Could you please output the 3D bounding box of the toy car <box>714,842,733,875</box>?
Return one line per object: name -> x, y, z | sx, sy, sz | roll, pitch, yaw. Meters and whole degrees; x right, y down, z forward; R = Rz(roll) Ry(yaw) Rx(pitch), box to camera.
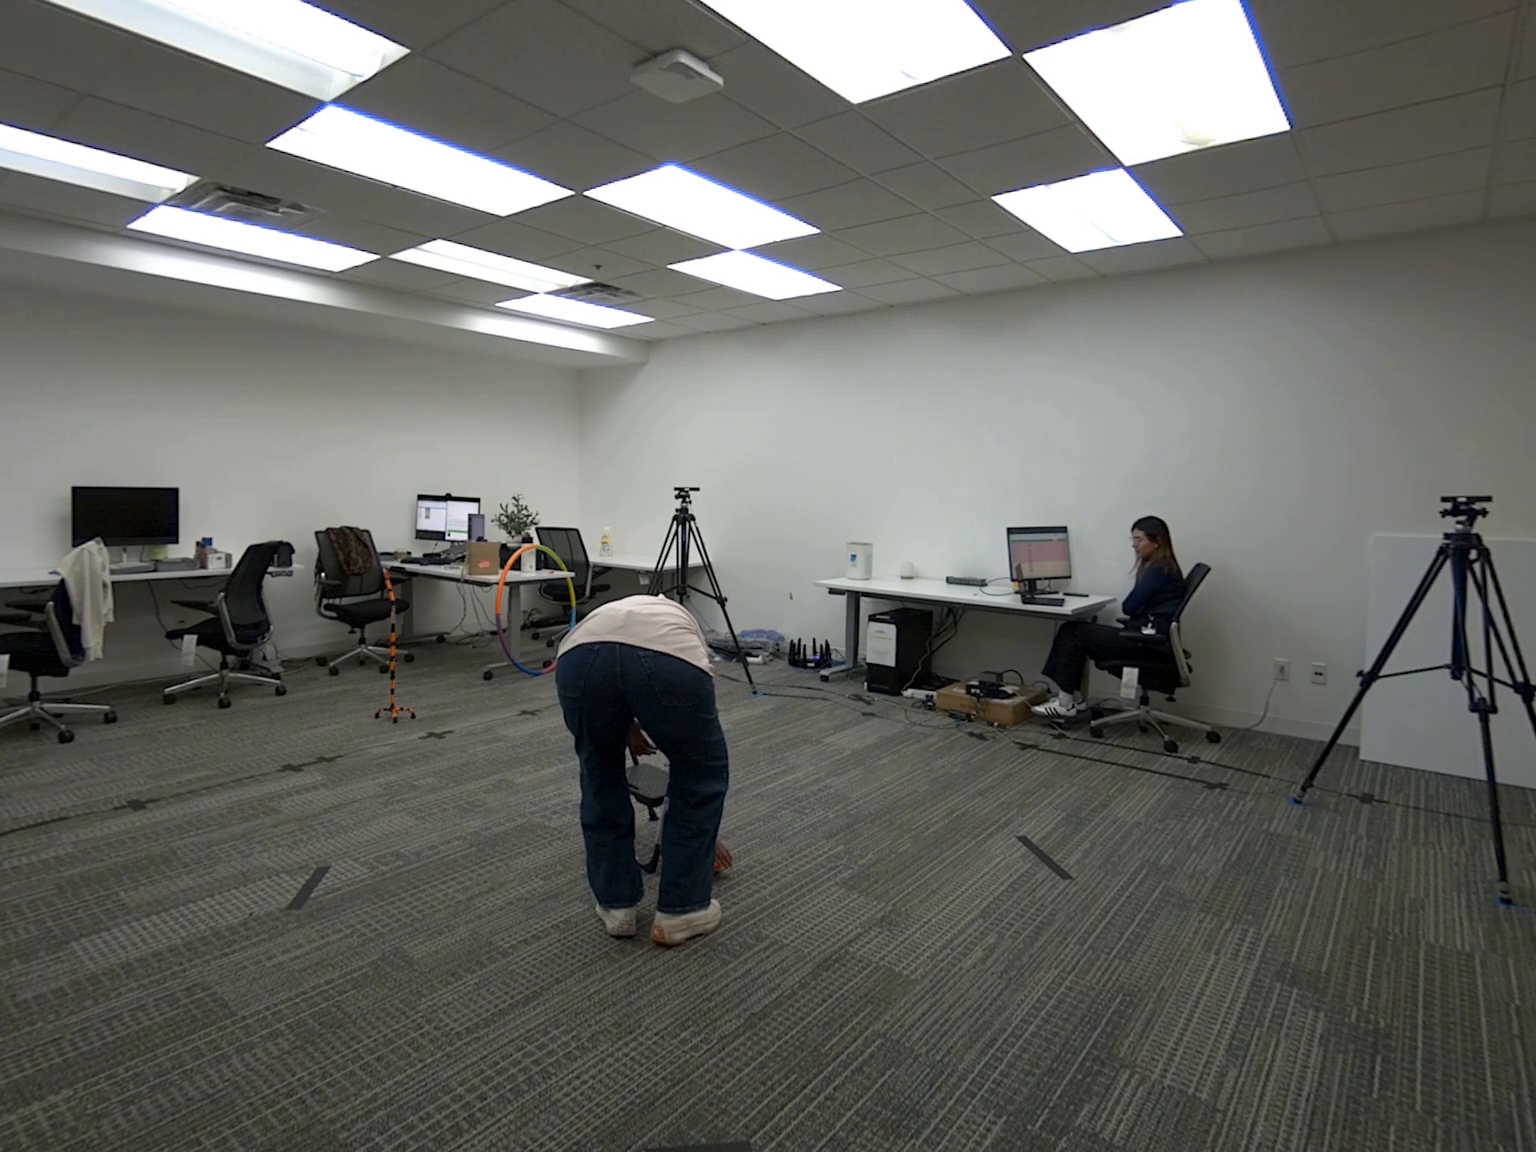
toy car -> -0.259, 1.030, 3.115 | 0.261, 0.083, 0.126 | -8, -3, 44
